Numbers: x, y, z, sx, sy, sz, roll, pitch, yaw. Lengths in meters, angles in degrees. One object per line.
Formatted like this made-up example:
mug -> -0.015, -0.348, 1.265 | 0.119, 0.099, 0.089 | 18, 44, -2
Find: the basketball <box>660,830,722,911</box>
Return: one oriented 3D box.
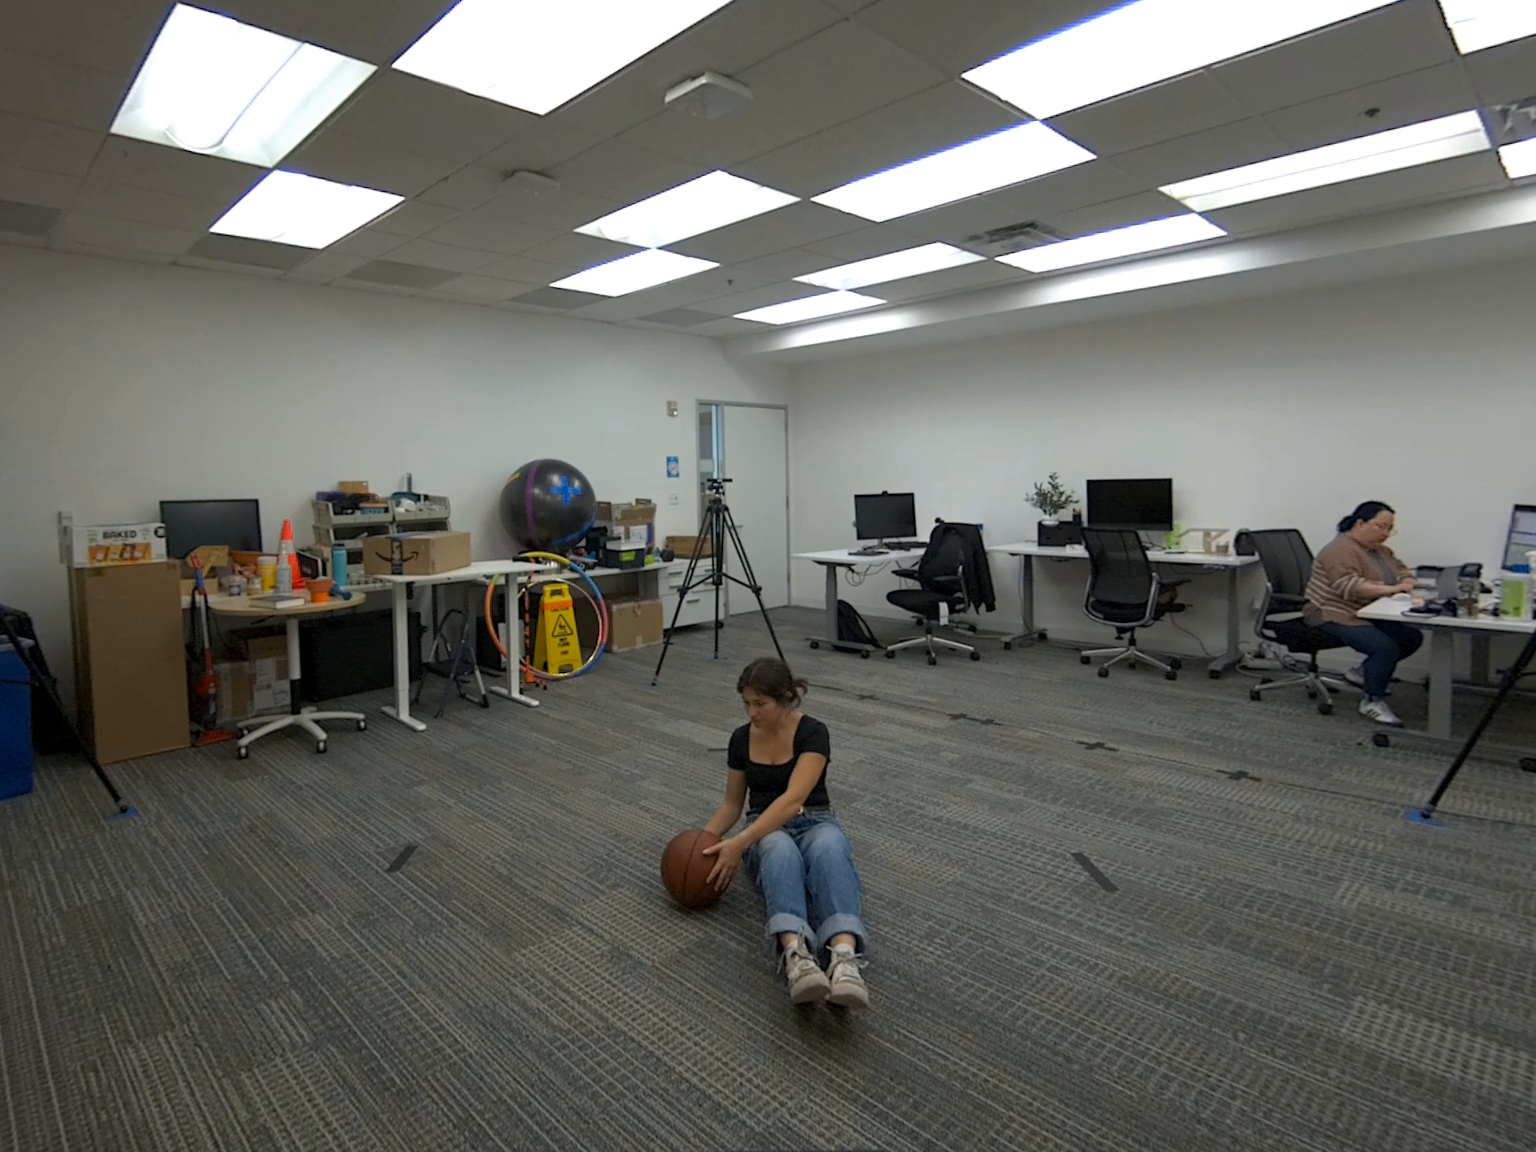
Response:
basketball -> -0.233, 0.958, 2.818 | 0.236, 0.235, 0.237 | -1, 5, -2
